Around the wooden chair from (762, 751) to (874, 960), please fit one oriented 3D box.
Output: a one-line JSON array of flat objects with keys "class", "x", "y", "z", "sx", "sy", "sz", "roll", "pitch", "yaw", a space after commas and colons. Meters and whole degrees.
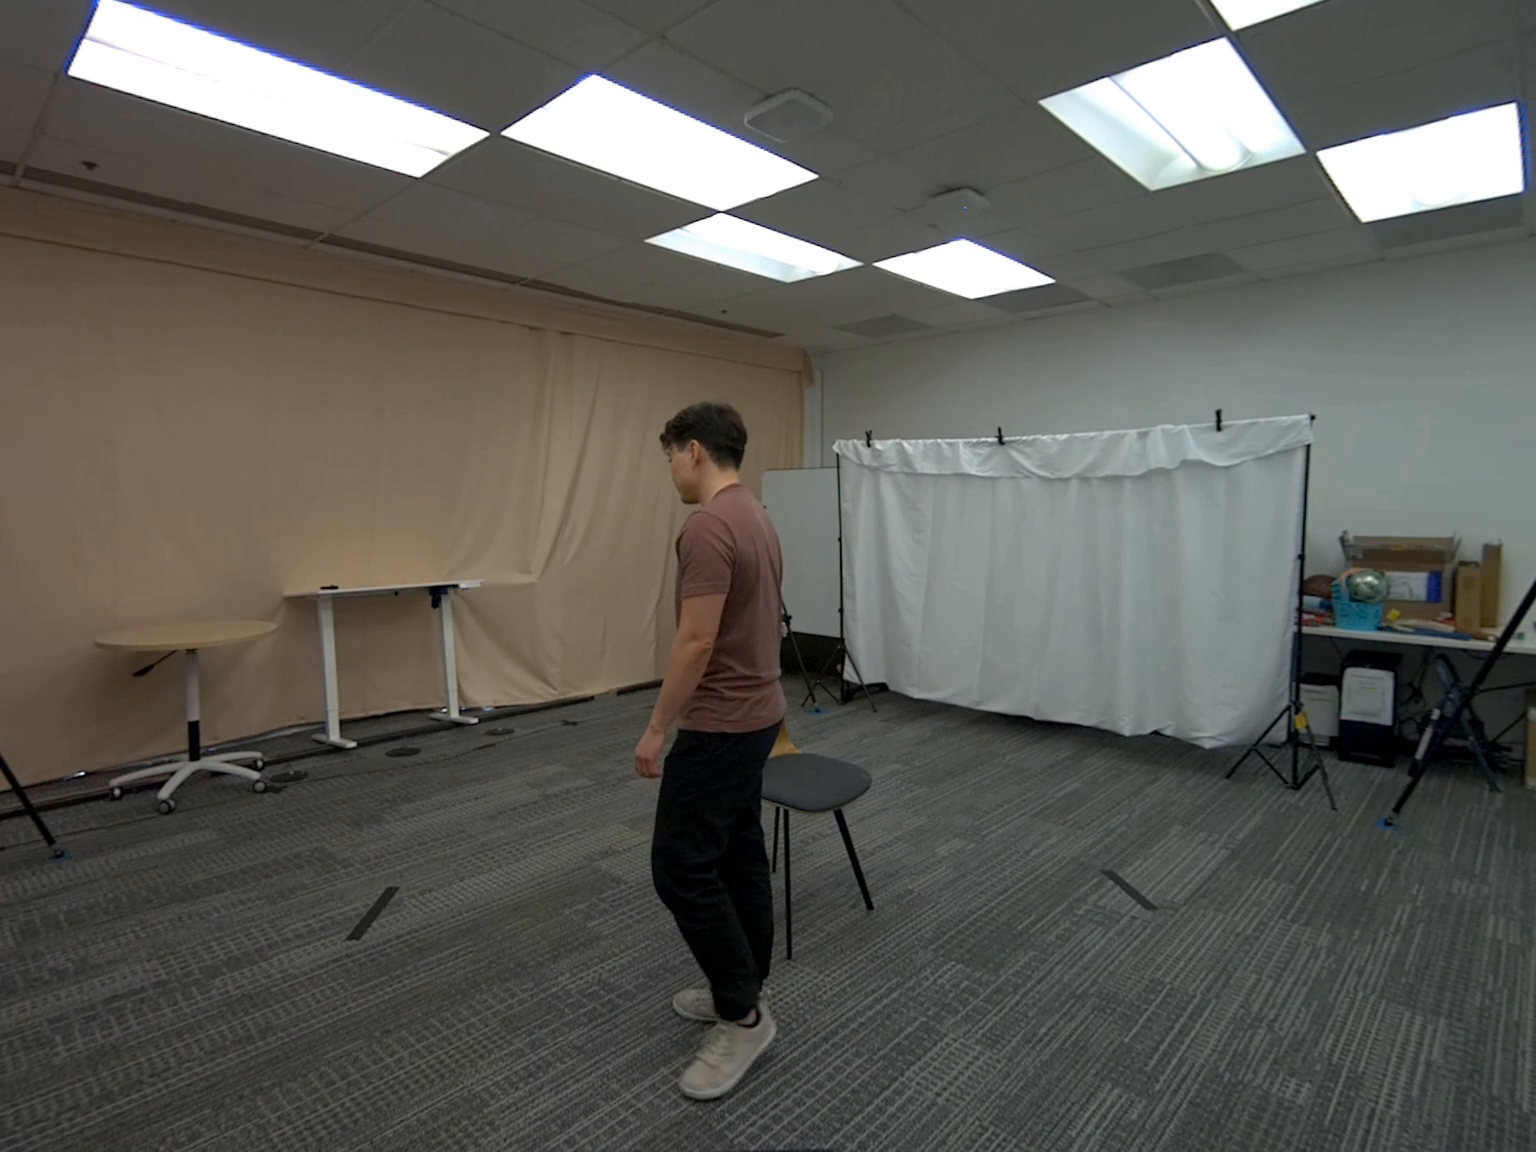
[{"class": "wooden chair", "x": 0.058, "y": 0.726, "z": 2.860, "sx": 0.539, "sy": 0.877, "sz": 0.463, "roll": -3, "pitch": 0, "yaw": 42}]
